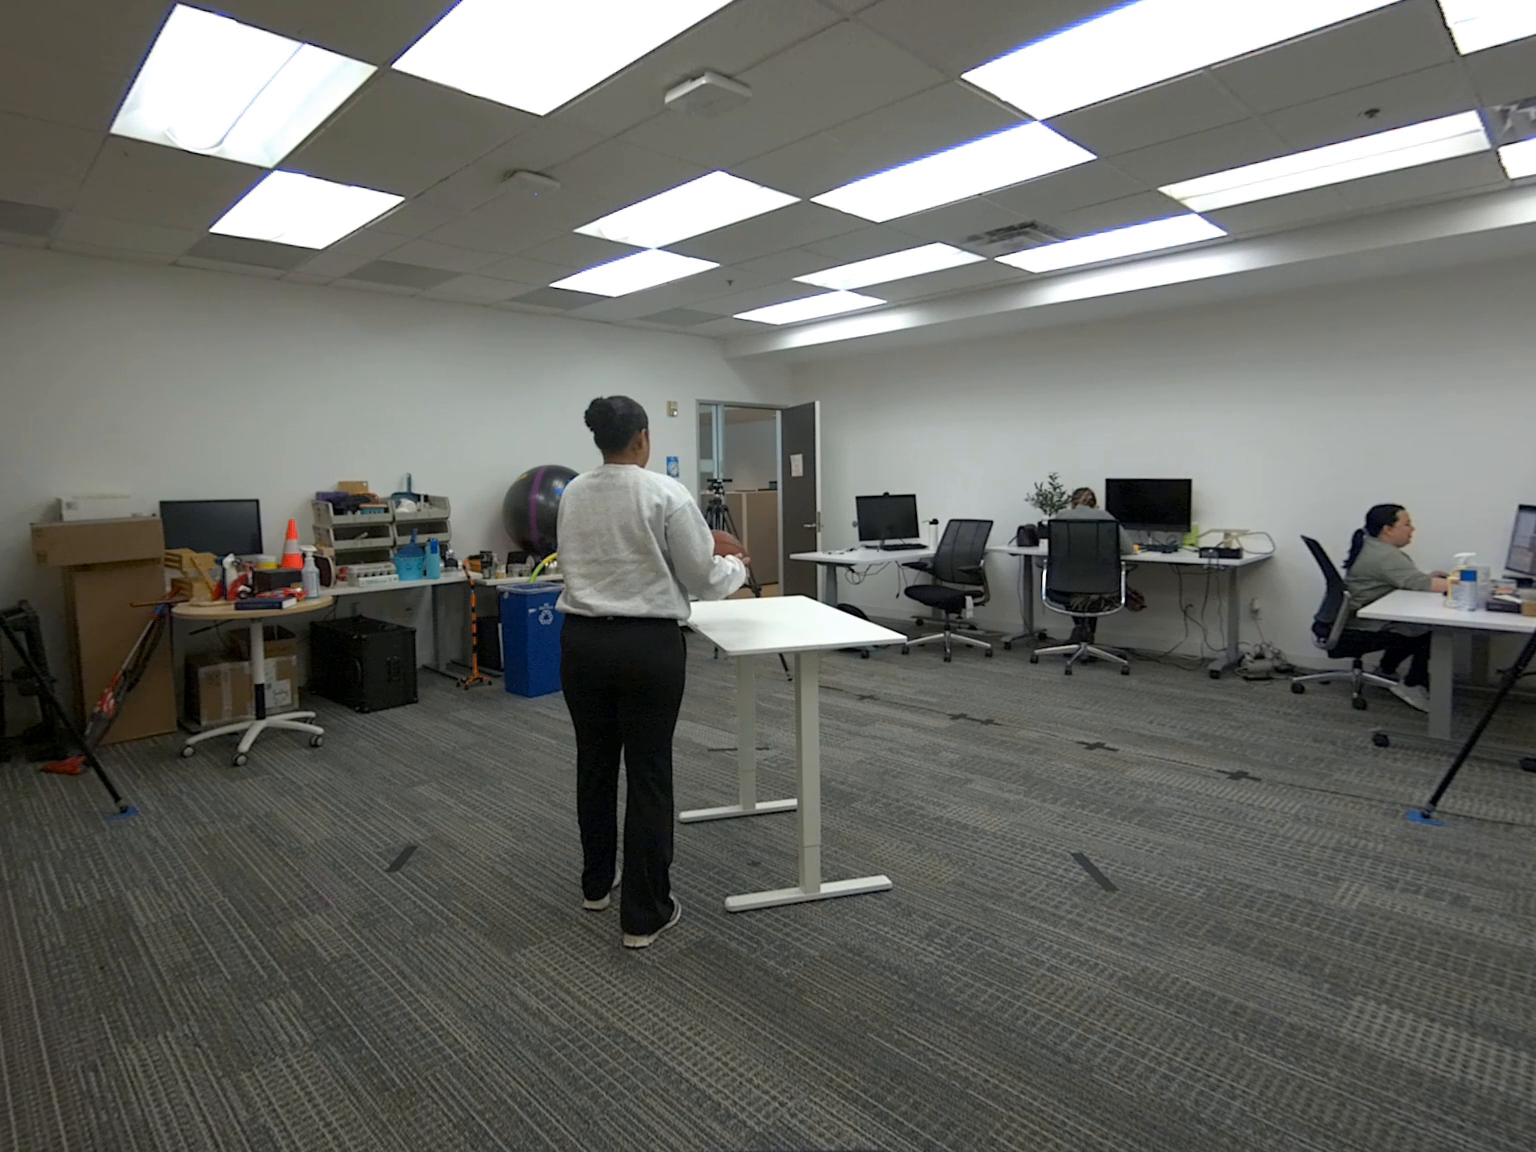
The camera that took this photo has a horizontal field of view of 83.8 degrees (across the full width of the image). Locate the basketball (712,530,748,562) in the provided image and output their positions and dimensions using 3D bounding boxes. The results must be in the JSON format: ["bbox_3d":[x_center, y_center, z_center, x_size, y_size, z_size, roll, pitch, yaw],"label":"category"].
[{"bbox_3d":[-0.179,-0.043,2.980,0.236,0.235,0.237,-1,5,-2],"label":"basketball"}]
